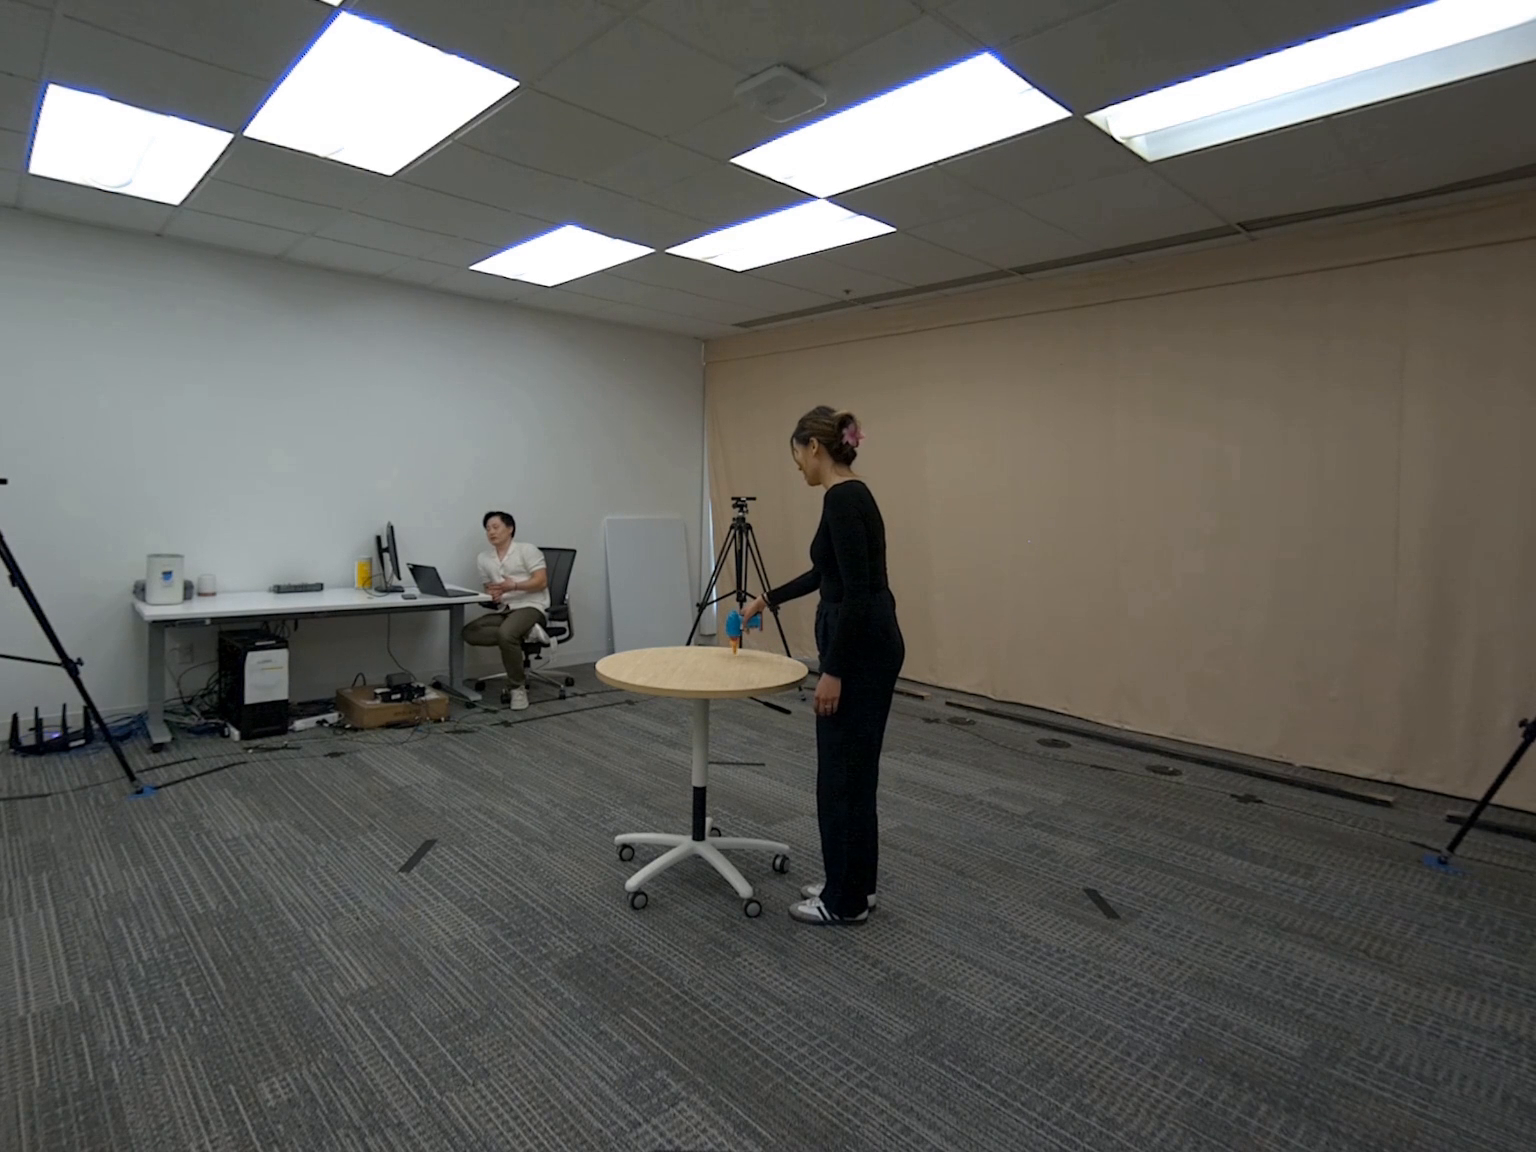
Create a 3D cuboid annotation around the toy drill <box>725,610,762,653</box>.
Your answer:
[{"bbox_3d":[-0.106,0.215,3.229,0.147,0.170,0.060,0,-3,7],"label":"toy drill"}]
